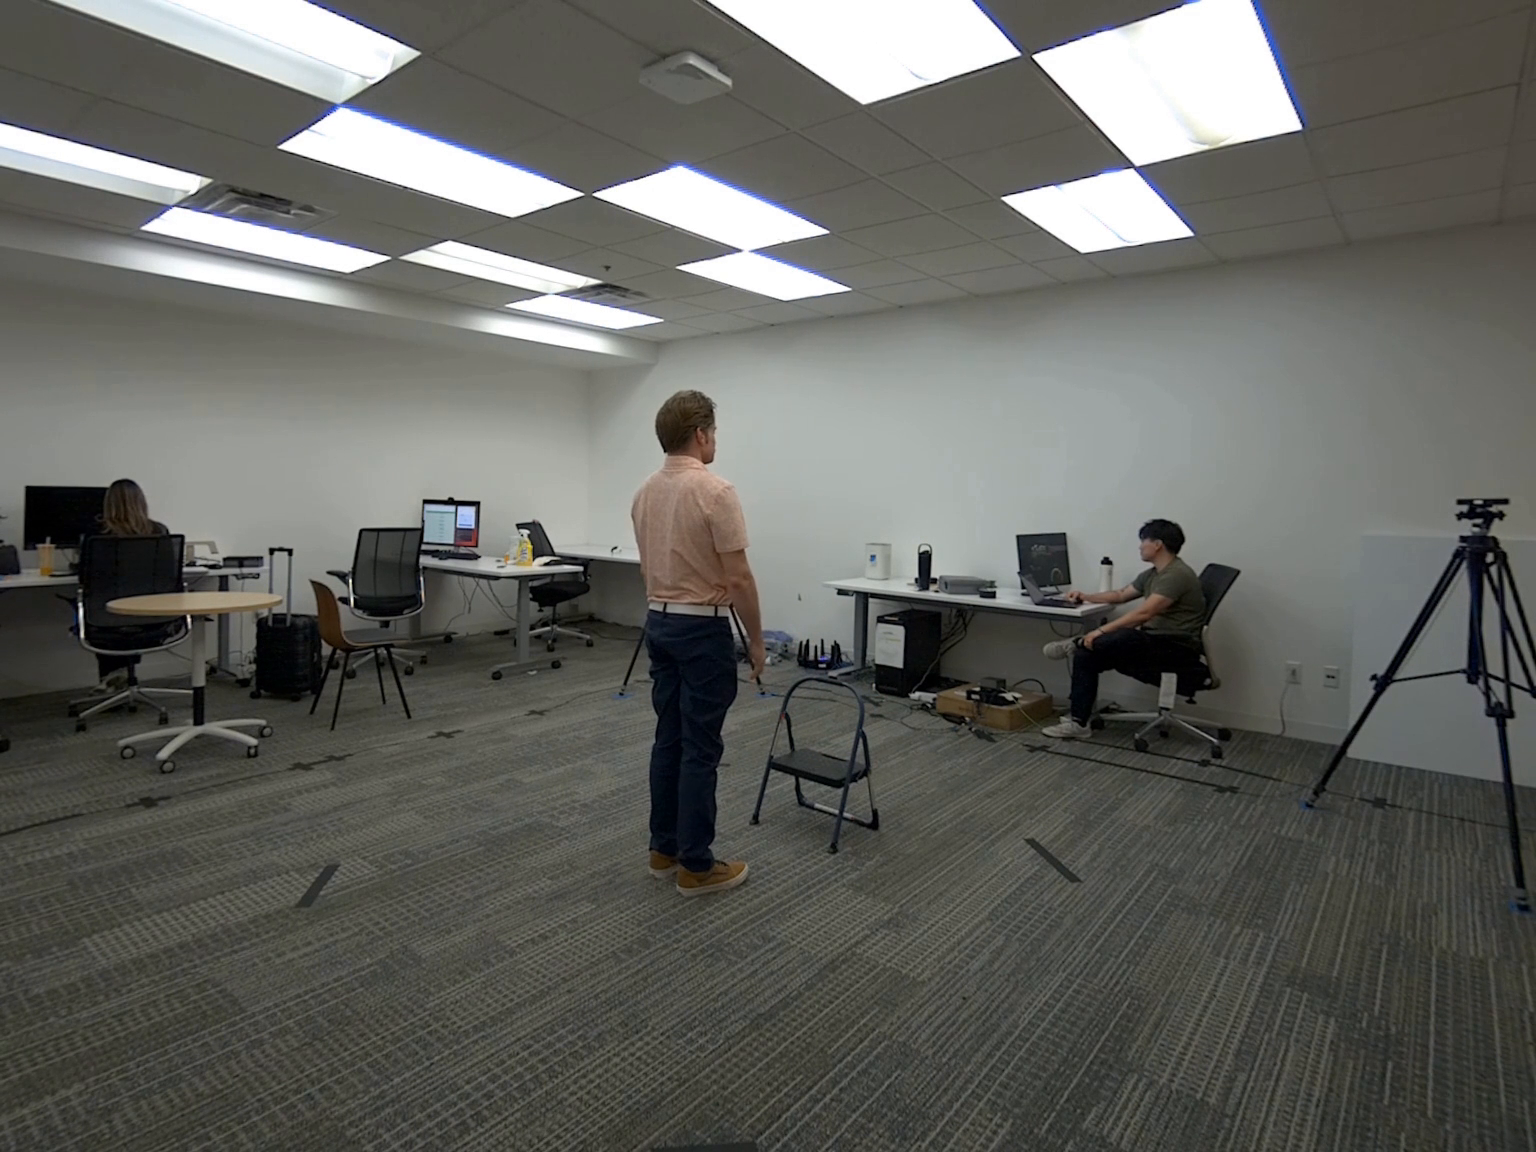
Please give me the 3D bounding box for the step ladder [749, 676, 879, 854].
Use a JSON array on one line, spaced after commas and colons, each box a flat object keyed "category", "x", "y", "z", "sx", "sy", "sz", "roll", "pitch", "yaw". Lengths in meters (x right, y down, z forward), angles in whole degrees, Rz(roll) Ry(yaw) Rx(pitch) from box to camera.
[{"category": "step ladder", "x": 0.195, "y": 0.735, "z": 3.521, "sx": 0.445, "sy": 0.604, "sz": 0.339, "roll": 5, "pitch": 4, "yaw": 40}]
